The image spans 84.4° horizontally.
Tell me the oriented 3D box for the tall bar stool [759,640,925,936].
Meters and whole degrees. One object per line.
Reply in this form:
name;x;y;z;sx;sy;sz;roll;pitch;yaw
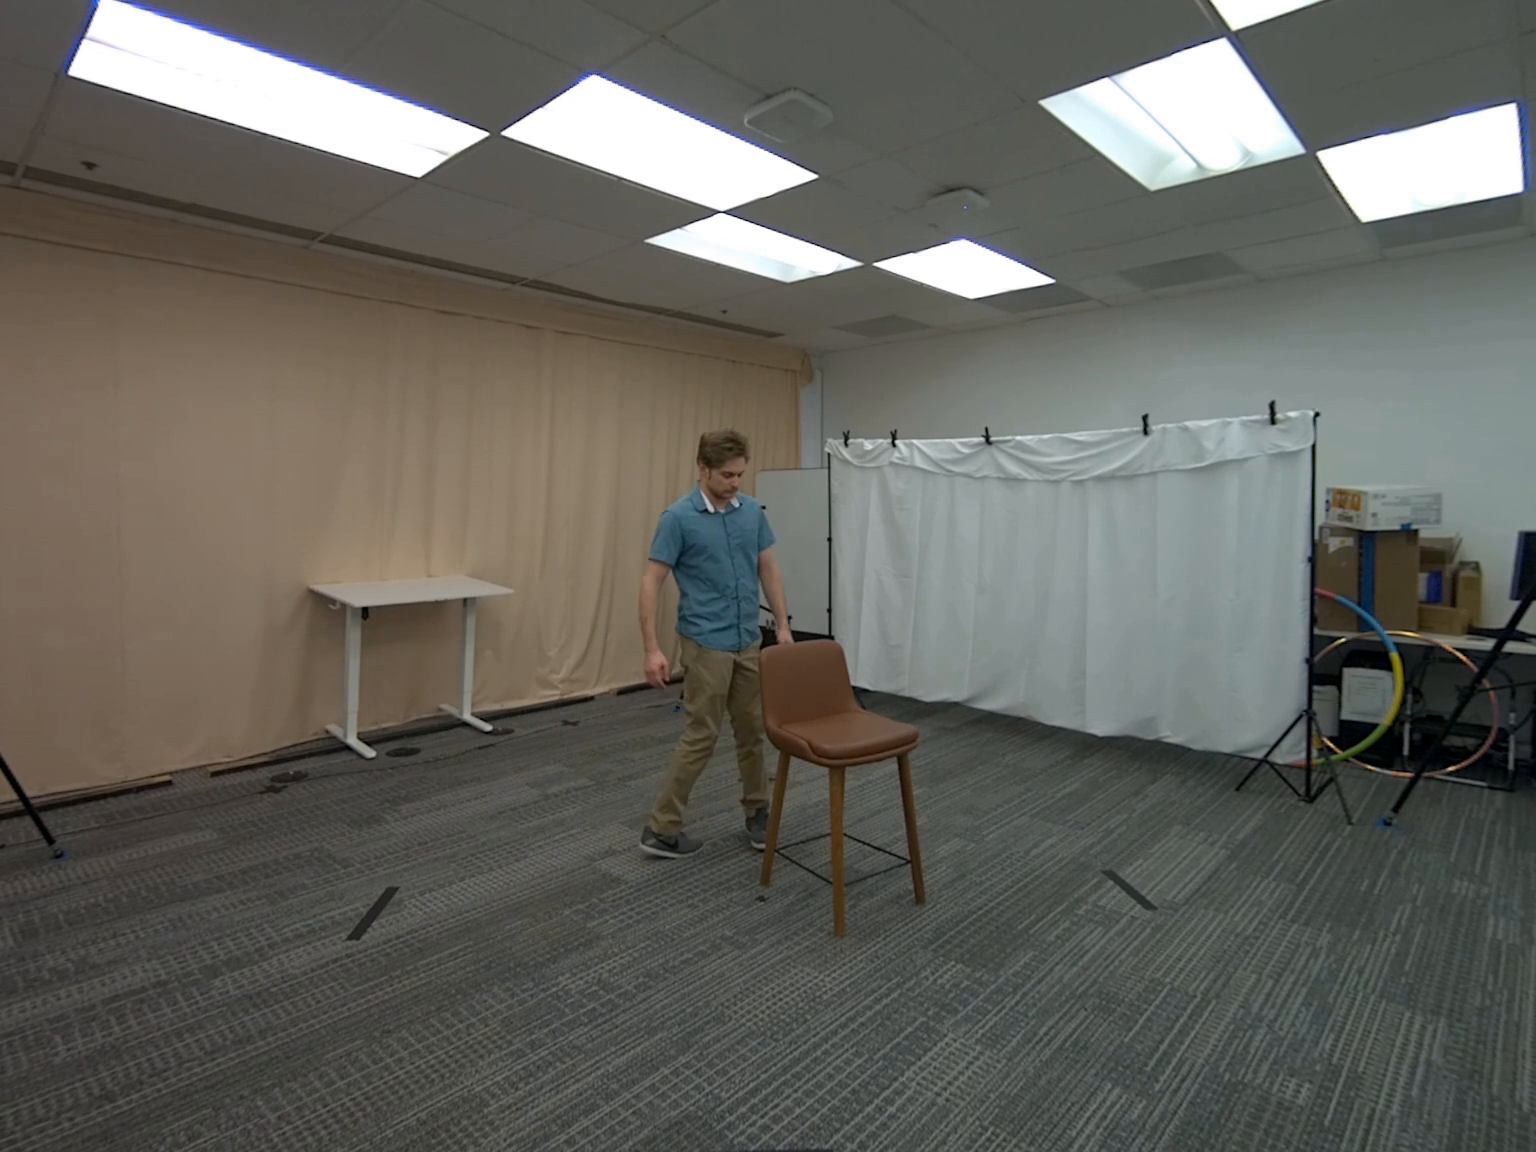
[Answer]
tall bar stool;0.254;0.704;2.997;0.443;0.889;0.482;-2;2;-36
